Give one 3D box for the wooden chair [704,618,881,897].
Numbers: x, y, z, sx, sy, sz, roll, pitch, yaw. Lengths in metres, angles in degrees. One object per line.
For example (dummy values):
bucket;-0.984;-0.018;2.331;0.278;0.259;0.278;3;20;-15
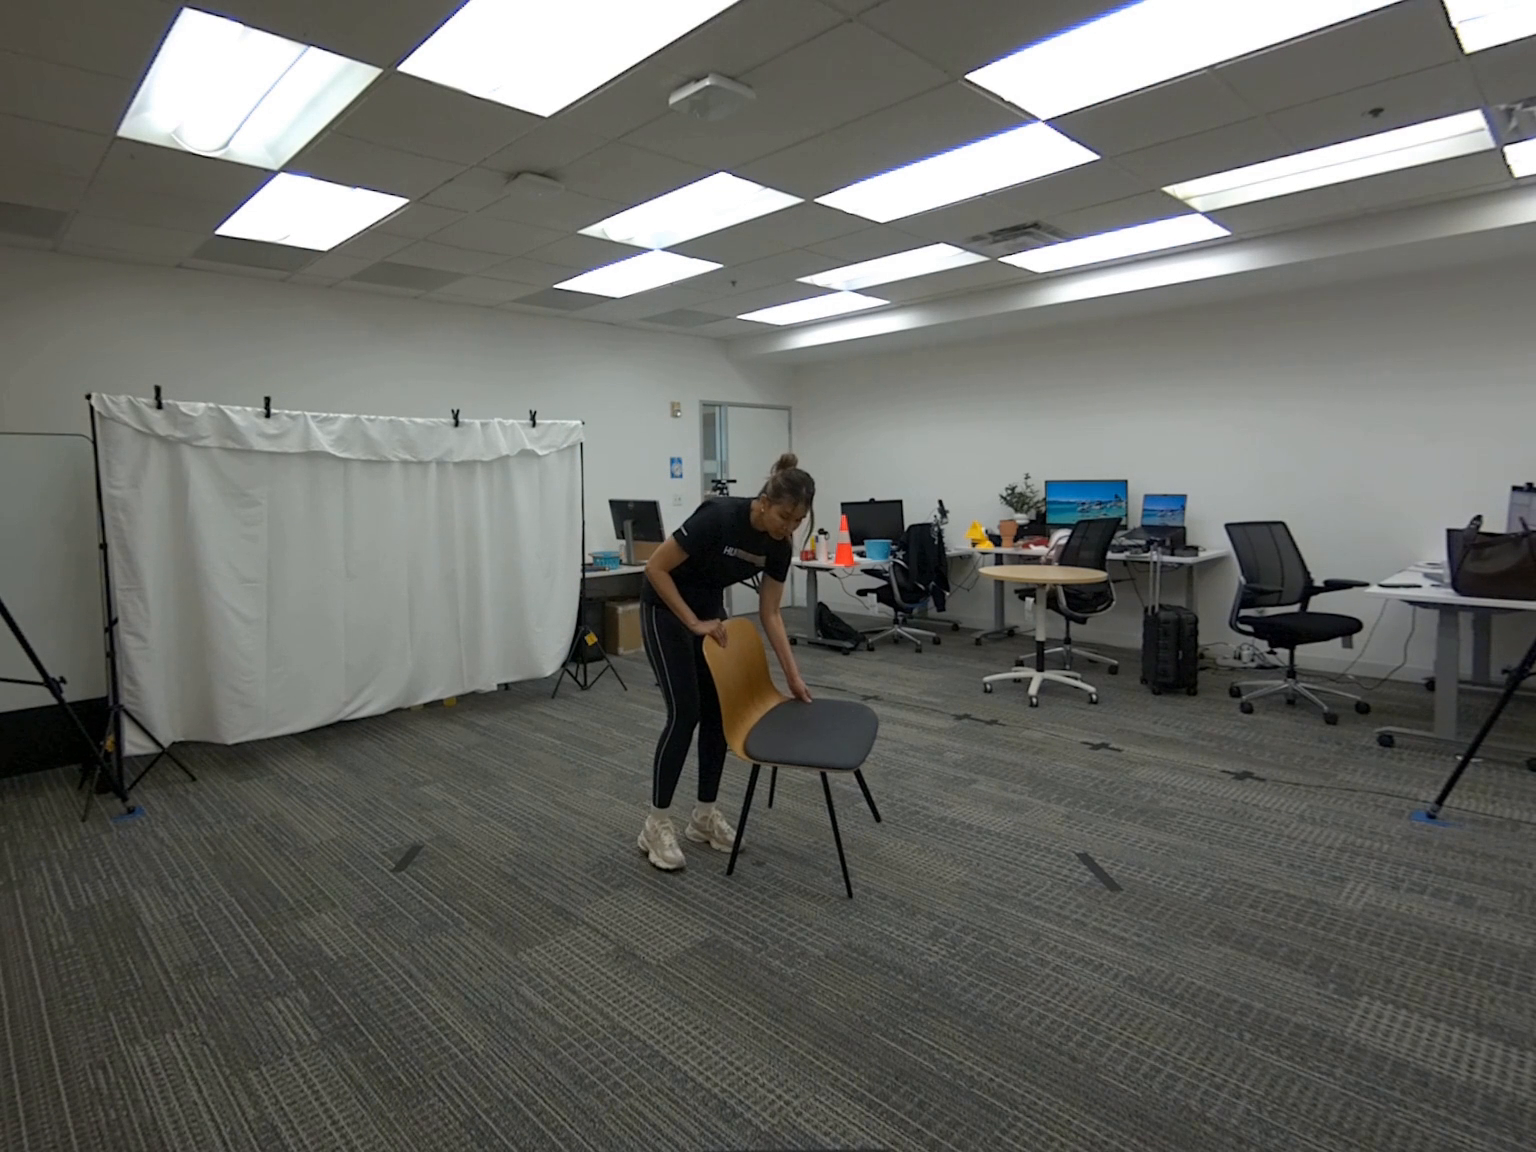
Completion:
wooden chair;0.114;0.592;3.017;0.534;0.866;0.475;-4;14;23
